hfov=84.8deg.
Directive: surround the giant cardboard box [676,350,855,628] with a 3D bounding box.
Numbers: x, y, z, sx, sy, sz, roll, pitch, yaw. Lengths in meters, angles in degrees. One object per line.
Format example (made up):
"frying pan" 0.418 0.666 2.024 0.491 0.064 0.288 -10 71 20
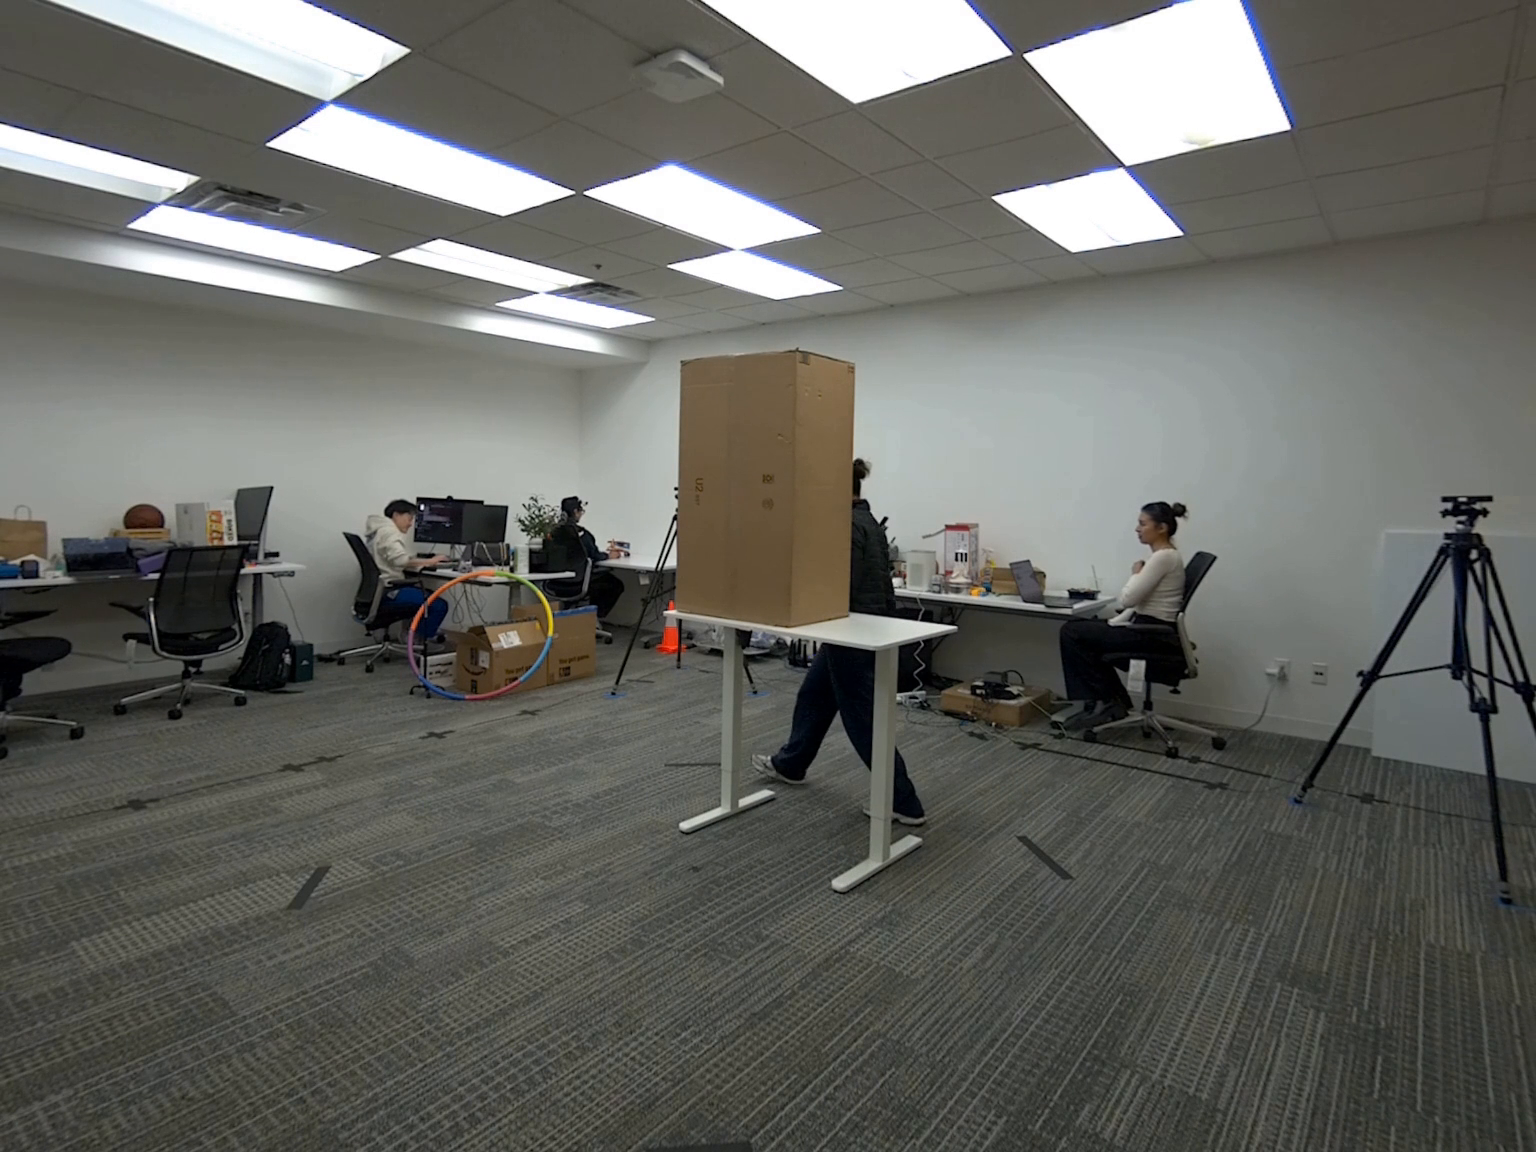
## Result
"giant cardboard box" 0.004 -0.355 3.454 0.597 1.023 0.413 4 4 38
